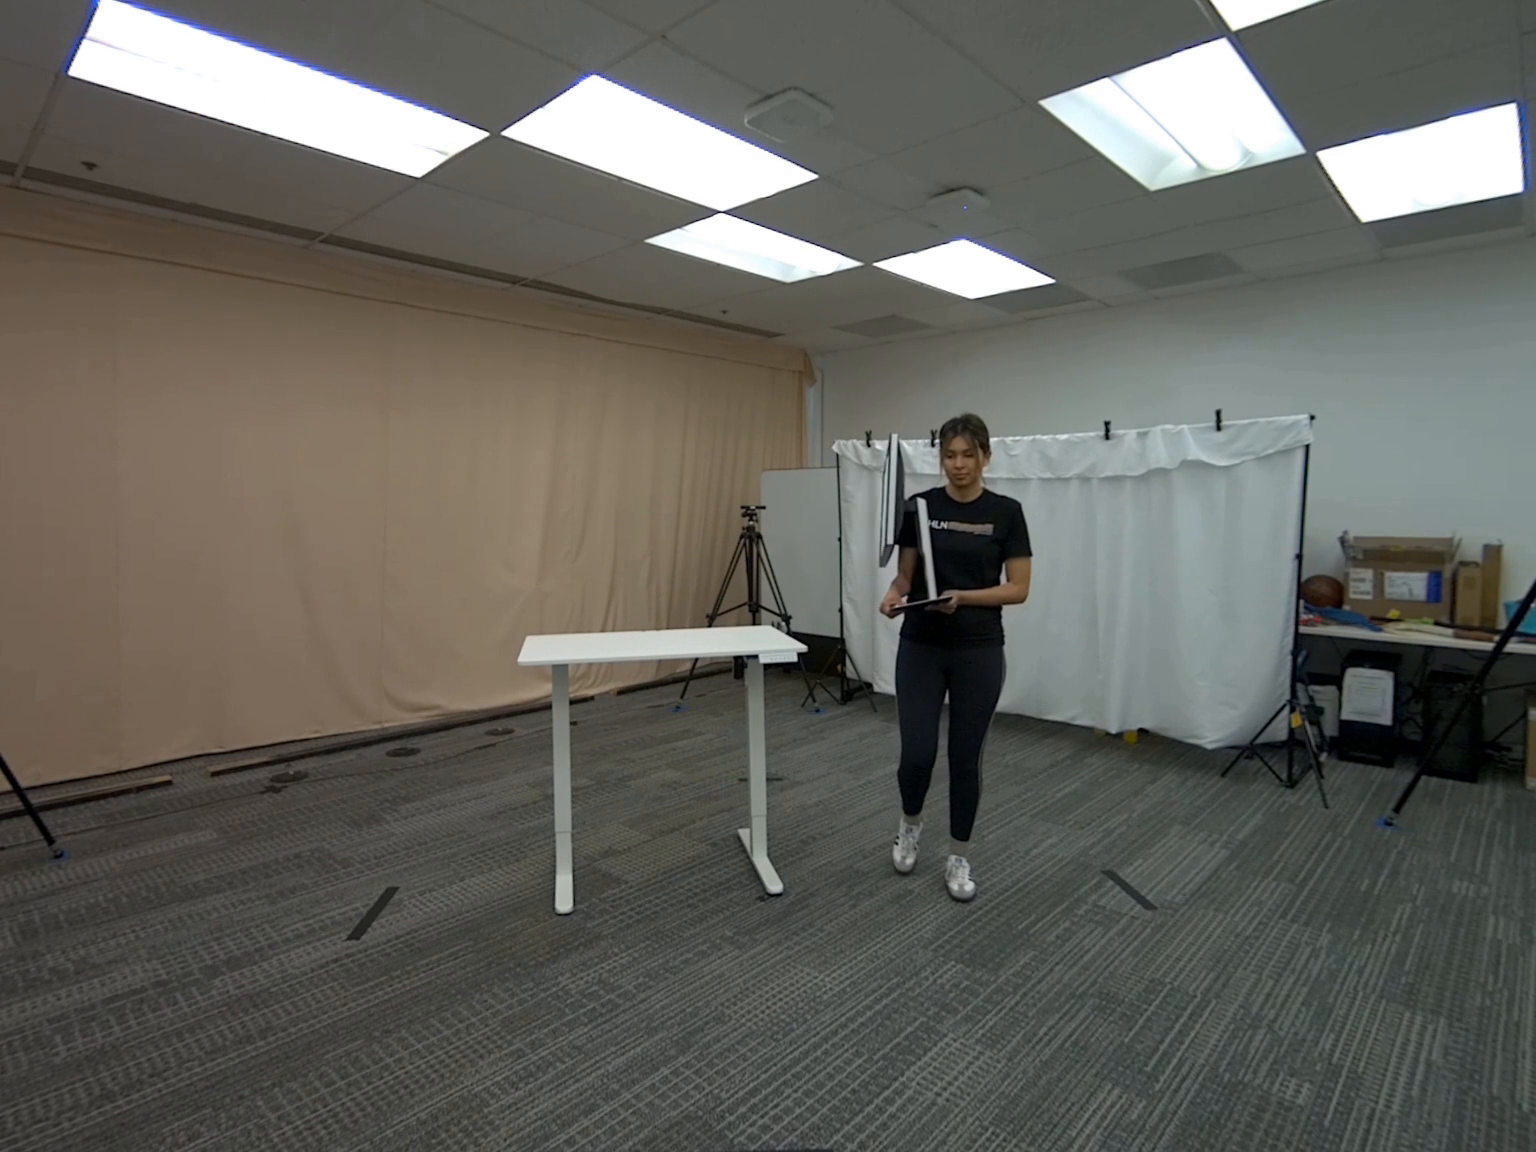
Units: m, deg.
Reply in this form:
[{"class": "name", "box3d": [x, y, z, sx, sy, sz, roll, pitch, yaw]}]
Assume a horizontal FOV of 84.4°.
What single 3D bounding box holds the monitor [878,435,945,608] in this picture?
[{"class": "monitor", "box3d": [0.465, -0.157, 2.889, 0.188, 0.526, 0.533, -8, -9, 2]}]
